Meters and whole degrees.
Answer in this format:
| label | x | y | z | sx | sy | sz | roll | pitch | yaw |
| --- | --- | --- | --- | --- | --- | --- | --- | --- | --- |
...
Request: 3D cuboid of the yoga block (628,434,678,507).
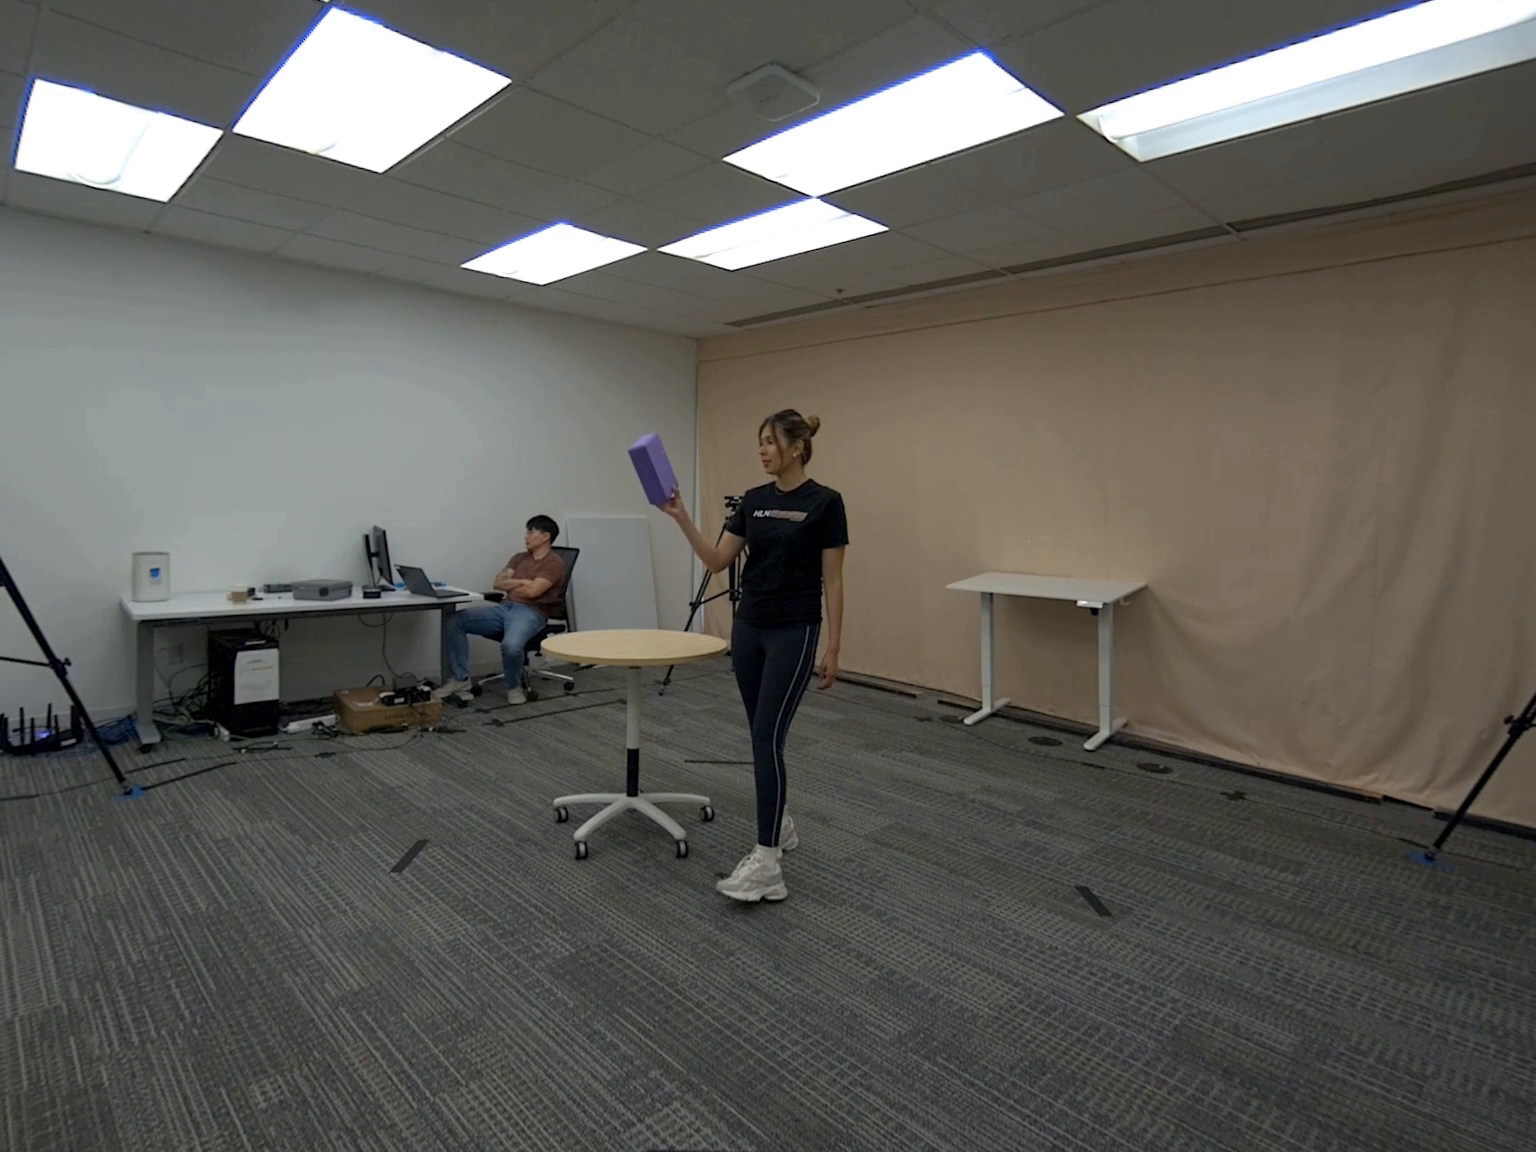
| label | x | y | z | sx | sy | sz | roll | pitch | yaw |
| --- | --- | --- | --- | --- | --- | --- | --- | --- | --- |
| yoga block | -0.429 | -0.403 | 3.130 | 0.077 | 0.225 | 0.150 | -14 | 23 | 21 |
